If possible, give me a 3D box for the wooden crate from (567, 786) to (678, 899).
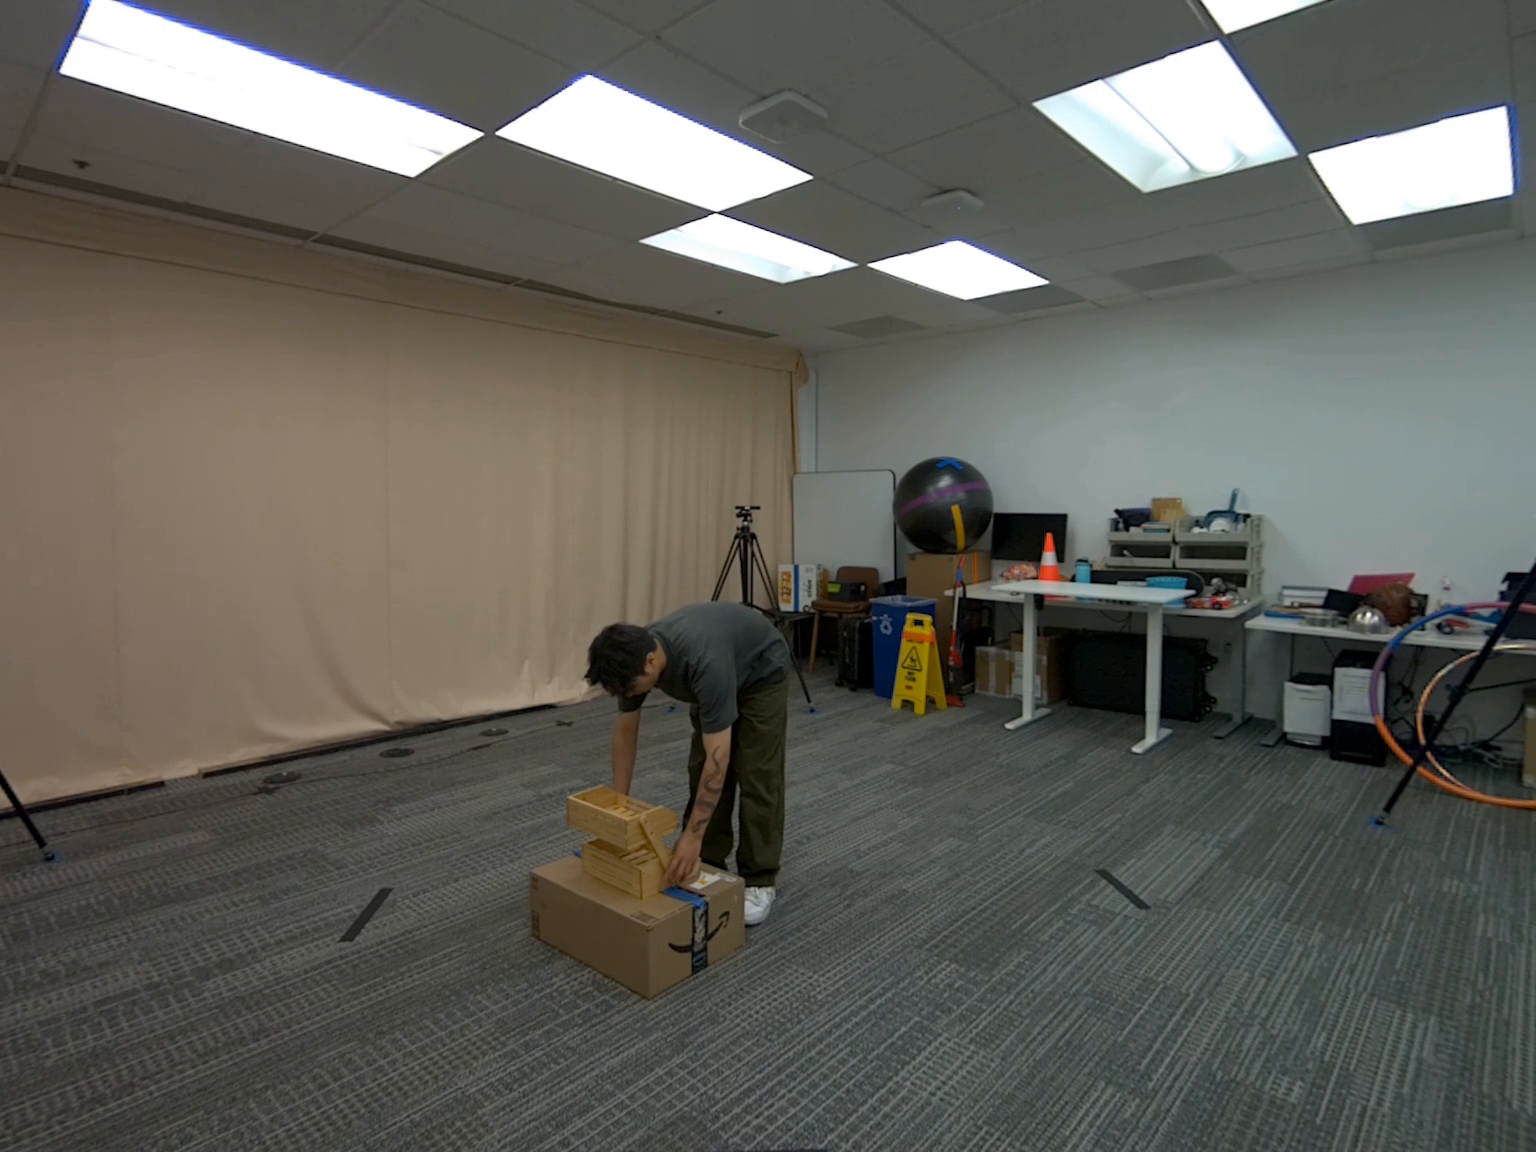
[{"bbox_3d":[-0.430,0.827,2.691,0.335,0.272,0.293,2,5,42],"label":"wooden crate"}]
